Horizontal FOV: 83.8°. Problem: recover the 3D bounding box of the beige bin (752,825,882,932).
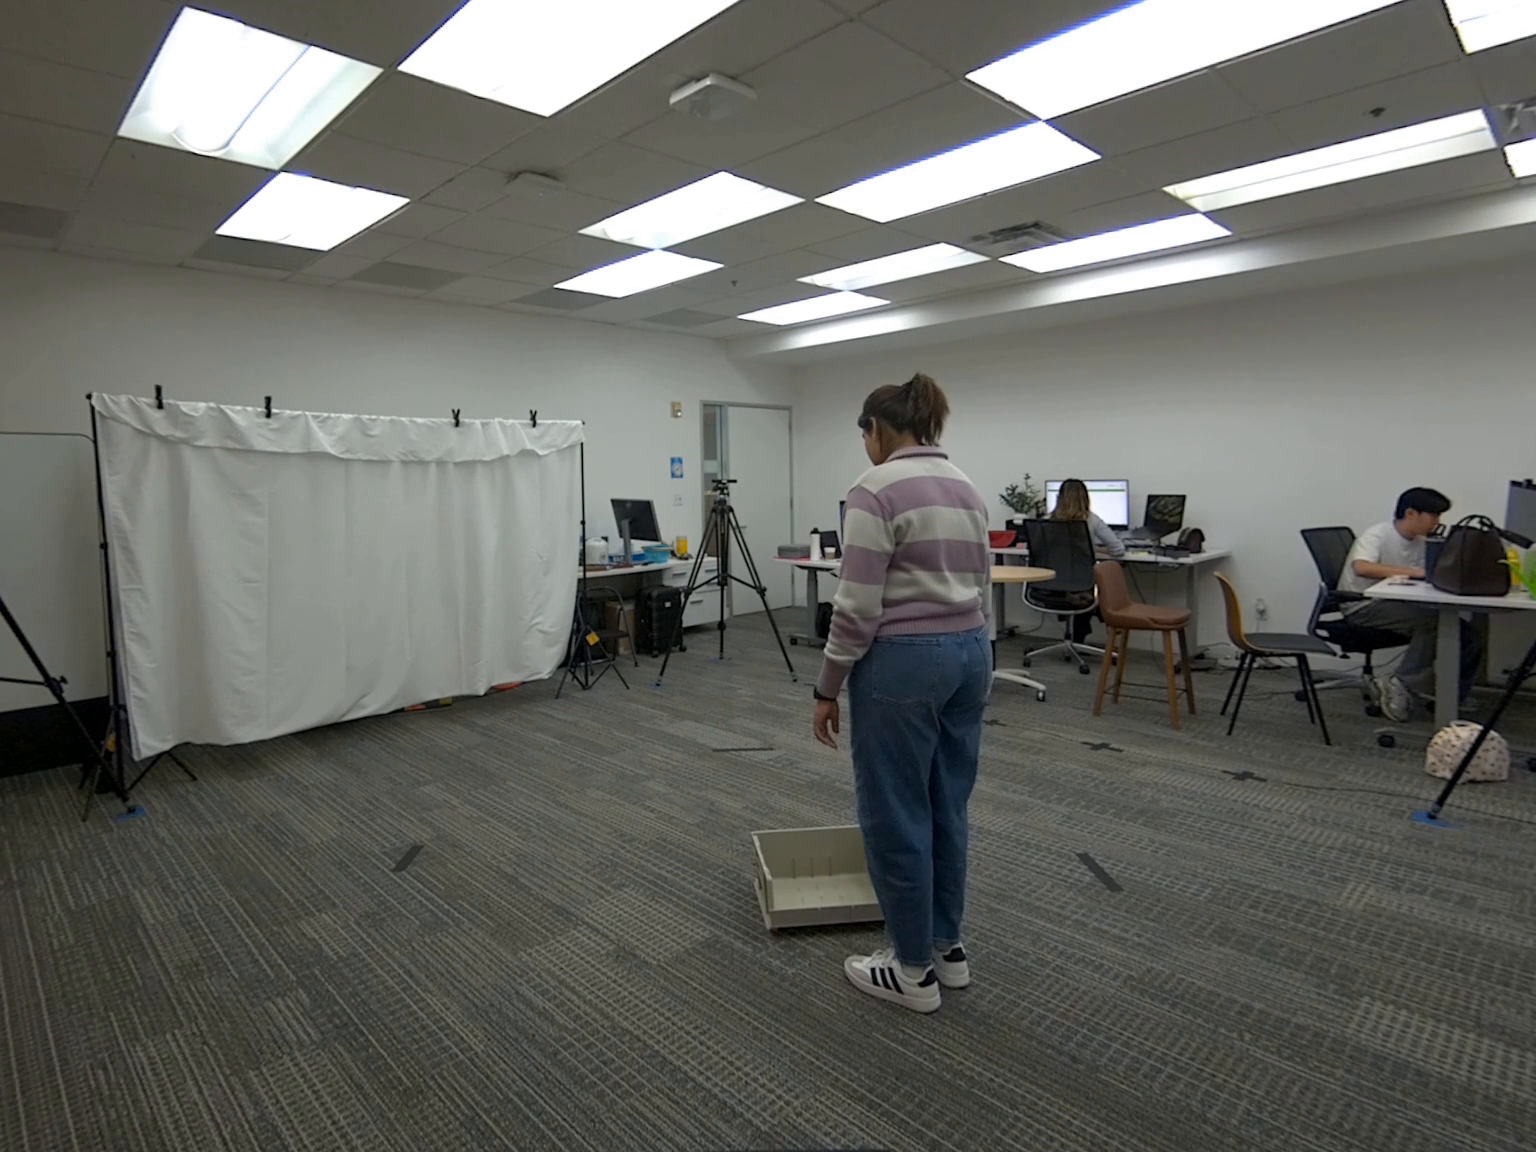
[{"bbox_3d":[0.186,0.992,2.792,0.420,0.188,0.381,-3,5,-7],"label":"beige bin"}]
